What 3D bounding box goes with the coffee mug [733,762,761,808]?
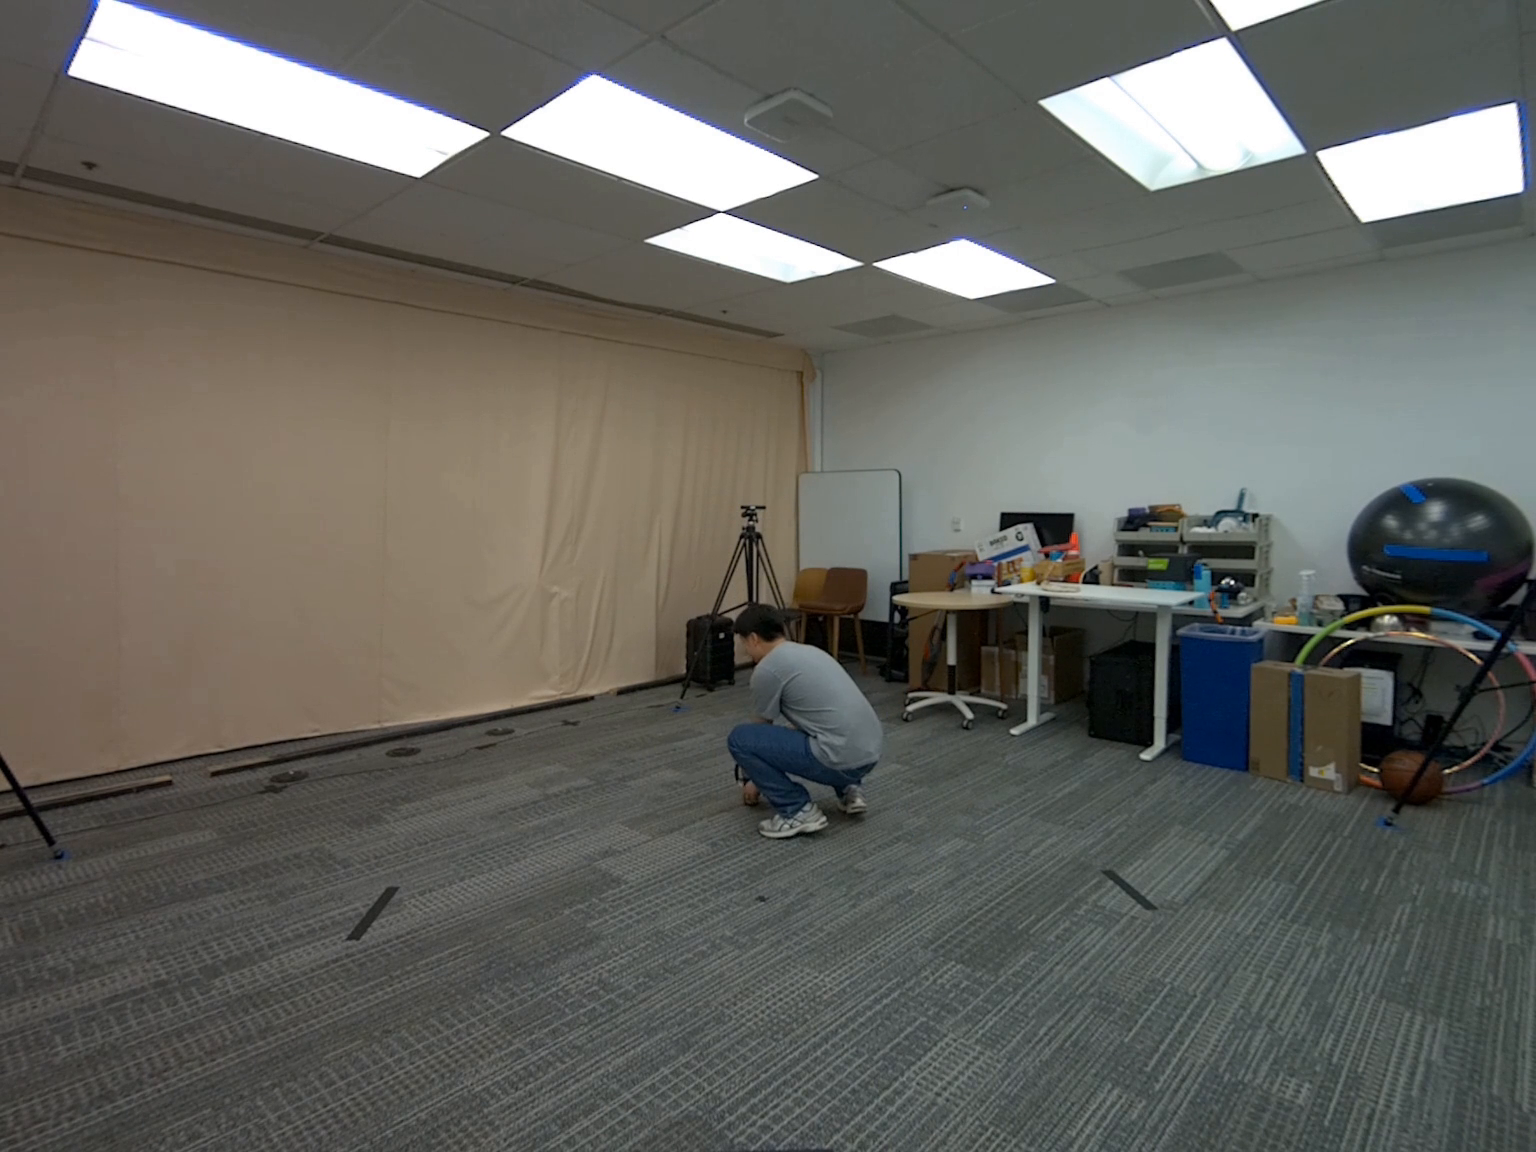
[{"bbox_3d":[-0.086,0.969,3.969,0.126,0.202,0.085,4,6,44],"label":"coffee mug"}]
